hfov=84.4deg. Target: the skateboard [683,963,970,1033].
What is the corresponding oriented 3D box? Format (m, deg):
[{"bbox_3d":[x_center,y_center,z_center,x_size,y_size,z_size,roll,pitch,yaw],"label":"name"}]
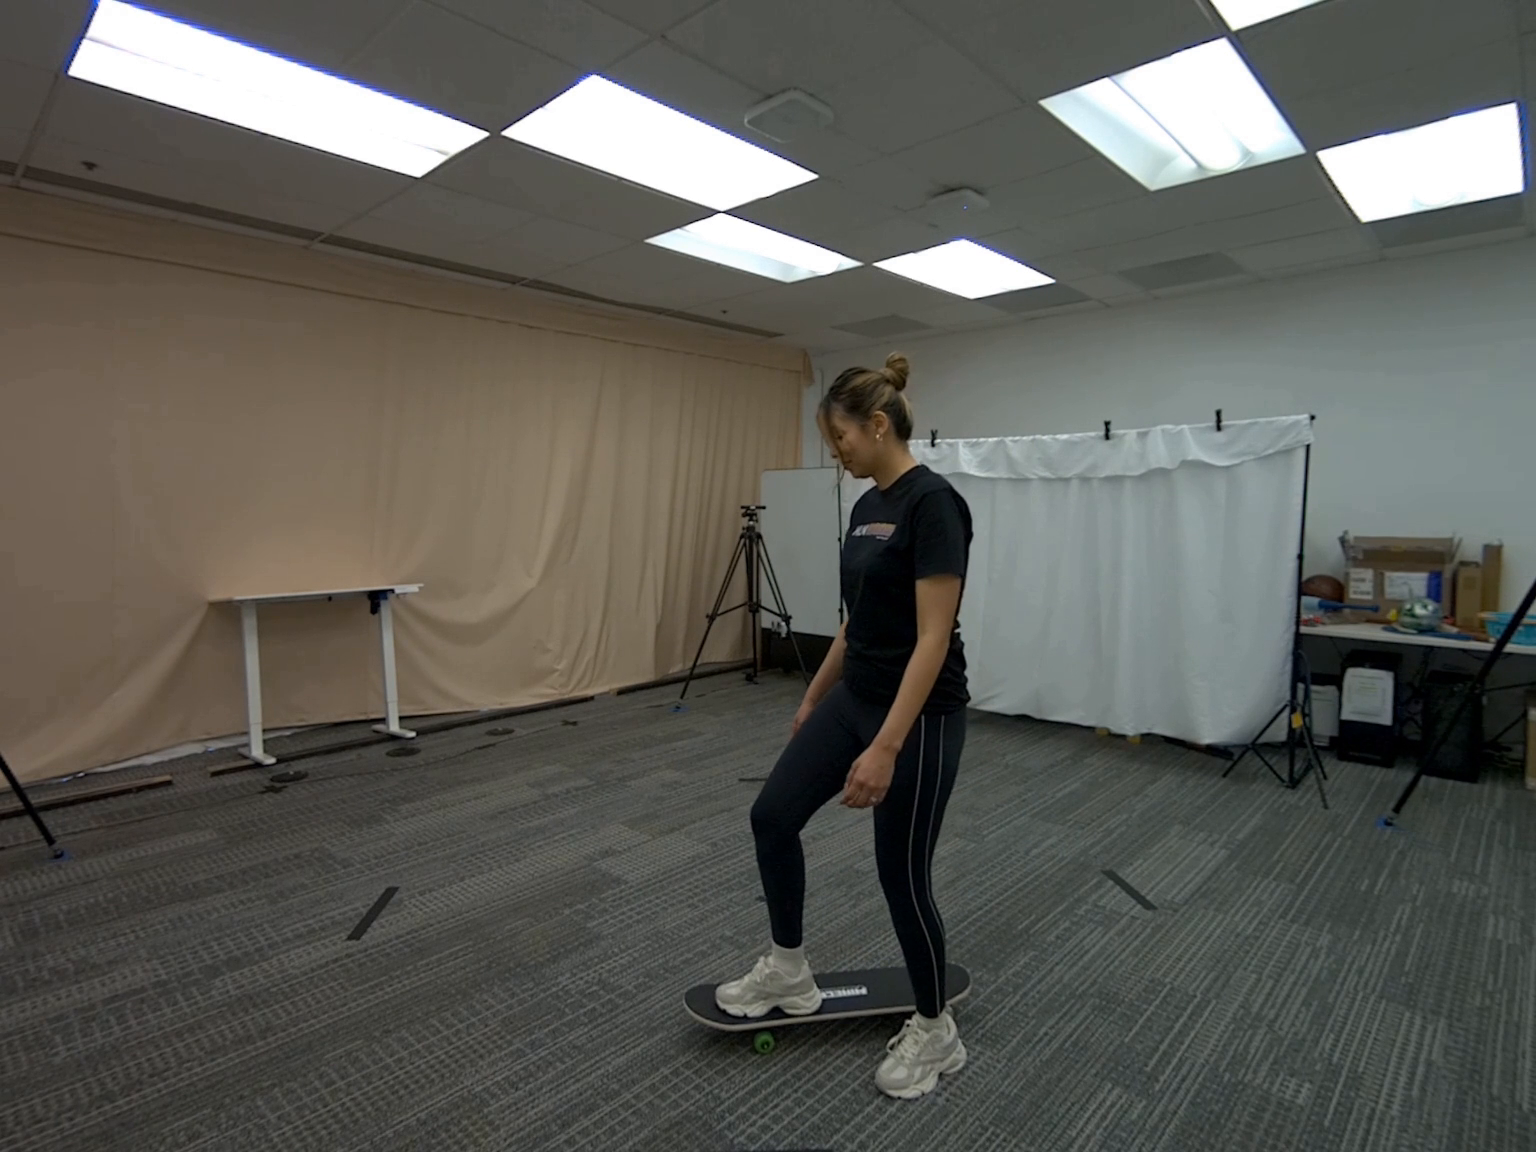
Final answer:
[{"bbox_3d":[0.177,1.151,2.252,0.778,0.110,0.196,-1,4,-9],"label":"skateboard"}]
